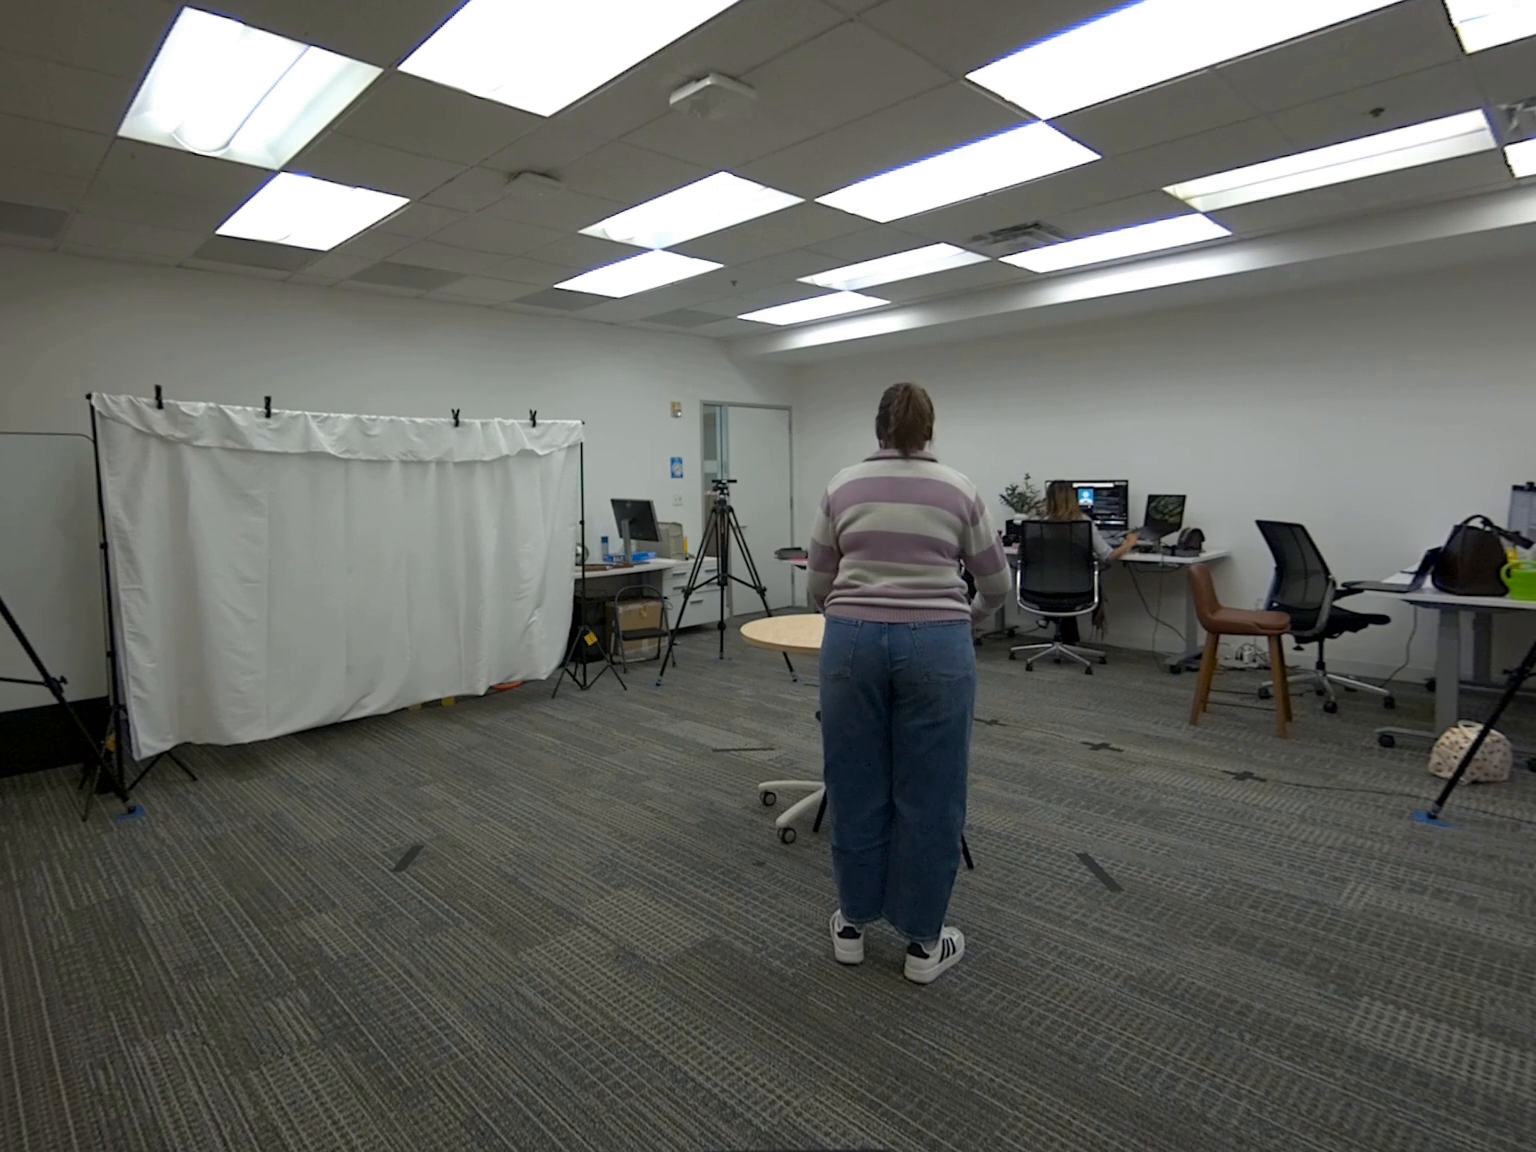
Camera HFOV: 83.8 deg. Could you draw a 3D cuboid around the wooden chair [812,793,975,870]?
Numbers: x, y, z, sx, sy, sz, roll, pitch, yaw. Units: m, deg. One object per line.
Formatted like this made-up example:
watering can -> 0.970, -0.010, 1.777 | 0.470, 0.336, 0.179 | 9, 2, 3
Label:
wooden chair -> 0.447, 0.605, 3.187 | 0.472, 0.871, 0.534 | -3, 8, -15
